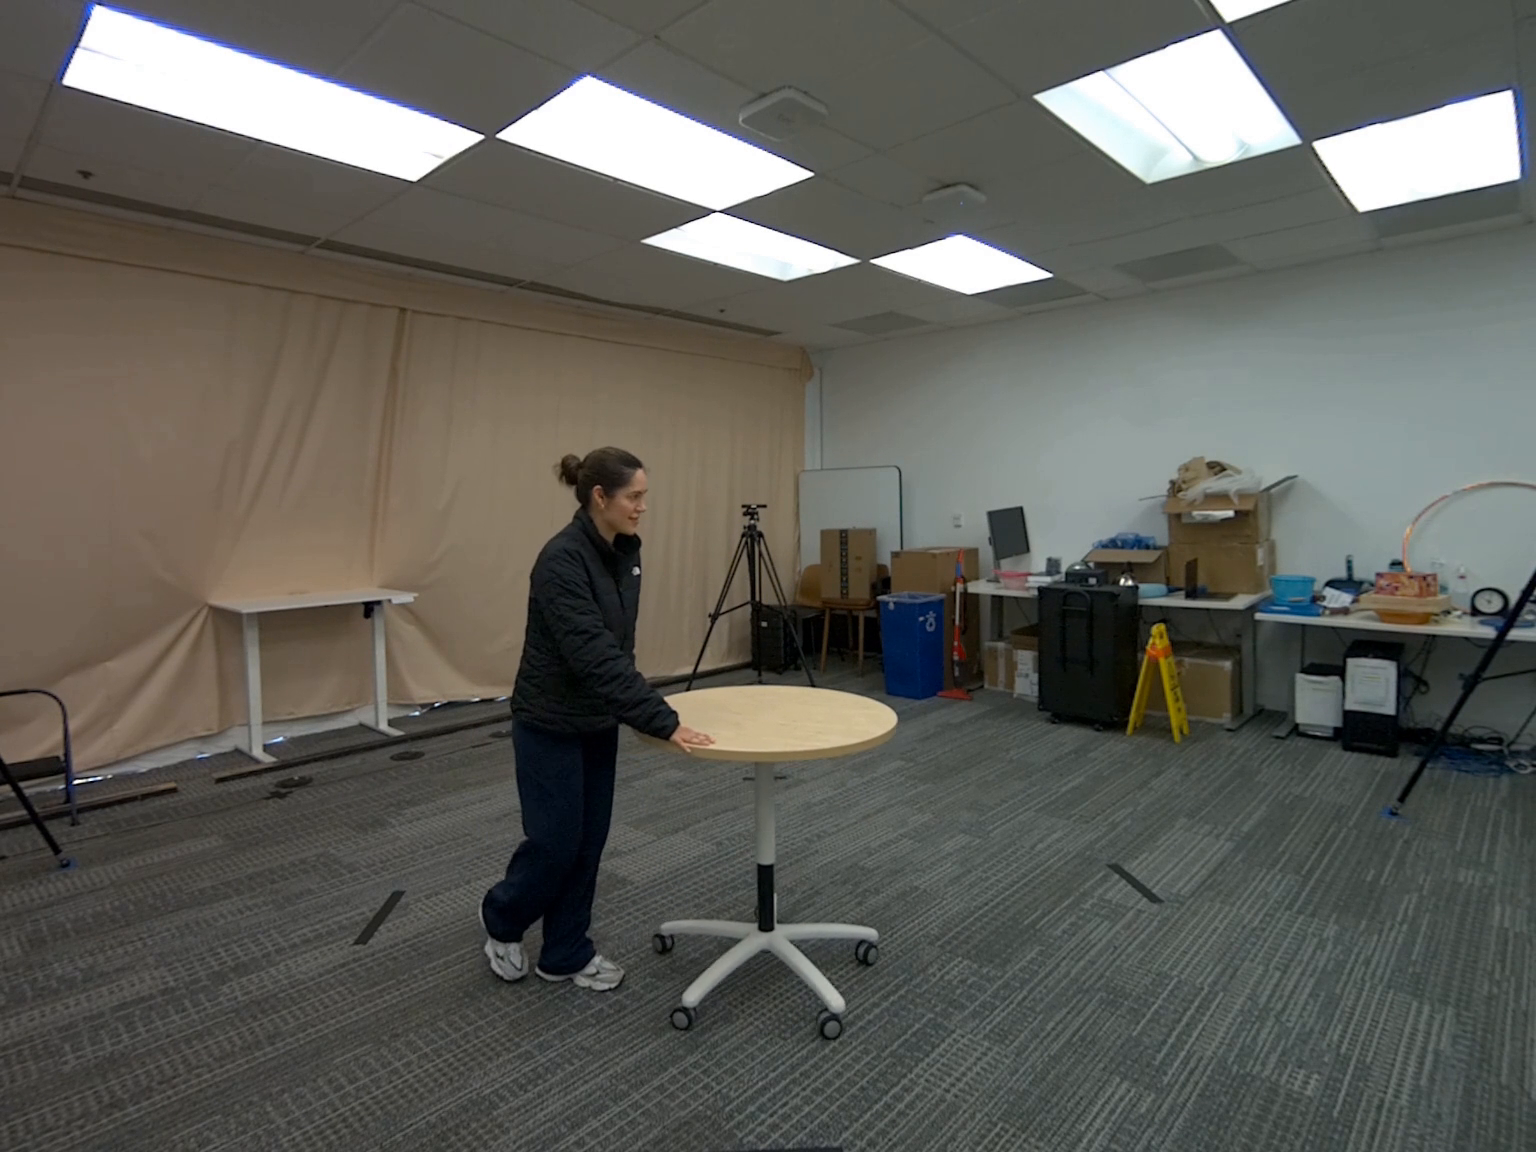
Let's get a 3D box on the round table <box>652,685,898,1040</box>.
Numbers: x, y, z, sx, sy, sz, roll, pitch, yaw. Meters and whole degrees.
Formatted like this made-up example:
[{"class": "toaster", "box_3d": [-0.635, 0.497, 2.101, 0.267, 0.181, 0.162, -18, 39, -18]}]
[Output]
[{"class": "round table", "box_3d": [-0.003, 0.794, 2.467, 0.784, 0.785, 0.788, -1, 4, -2]}]
